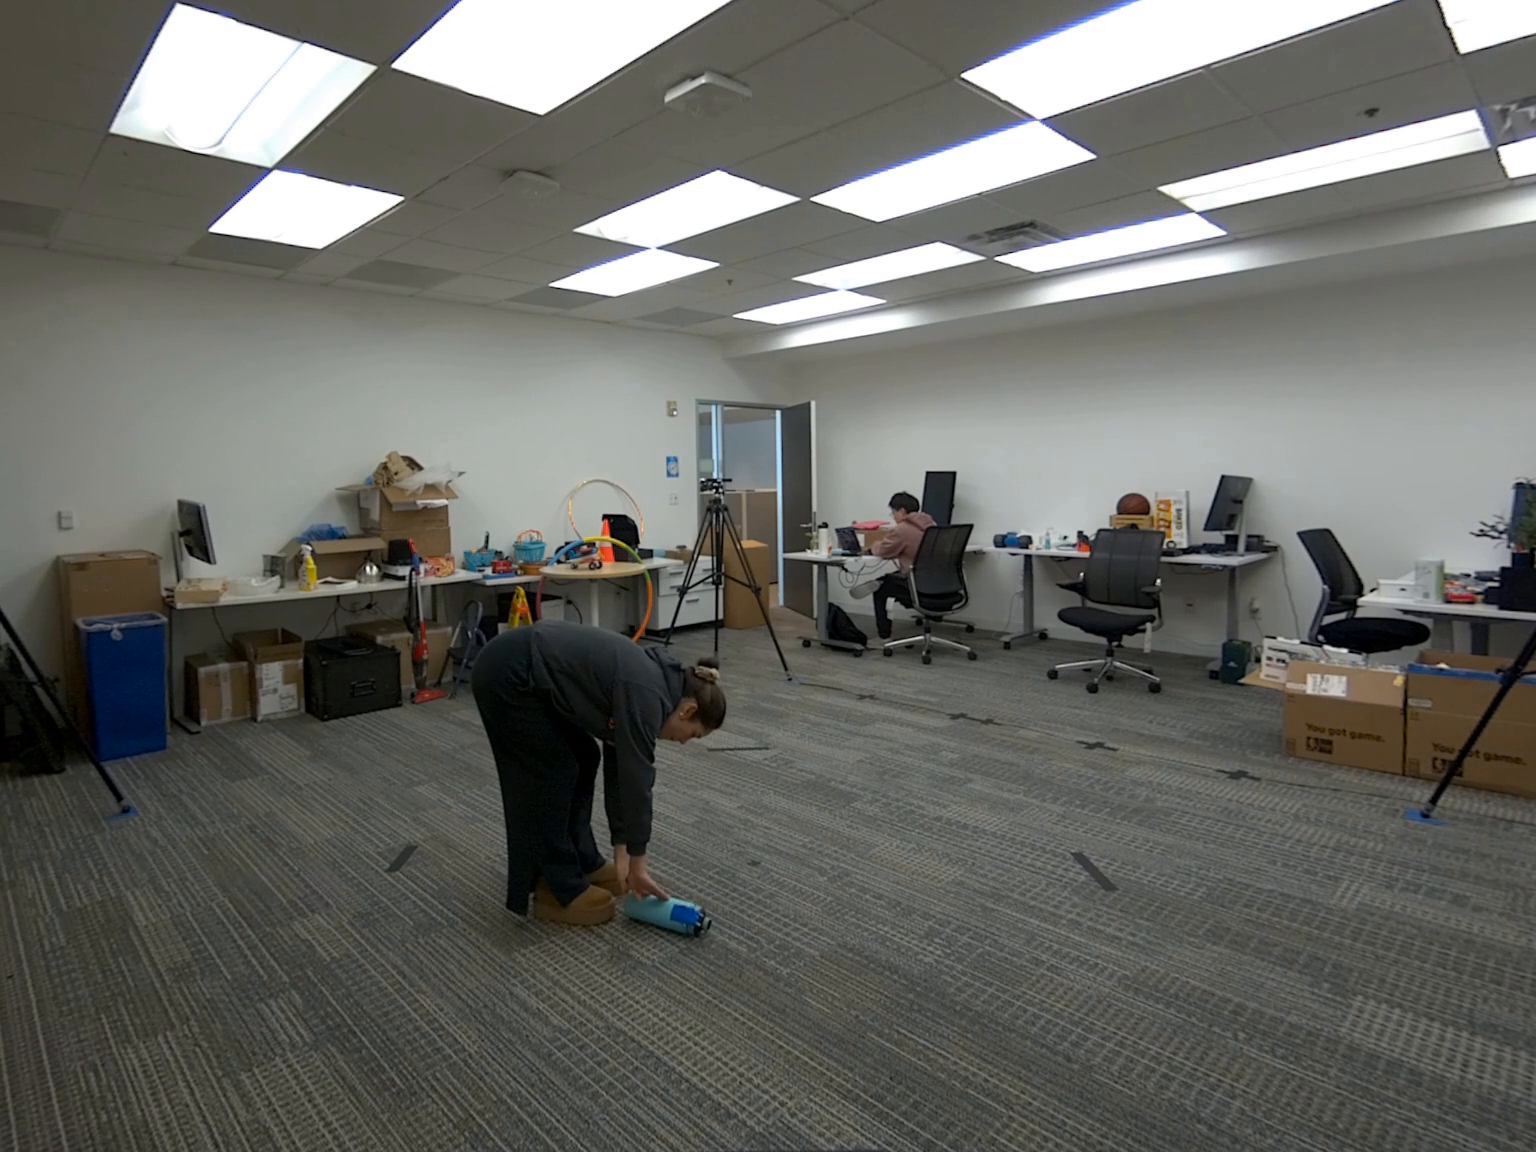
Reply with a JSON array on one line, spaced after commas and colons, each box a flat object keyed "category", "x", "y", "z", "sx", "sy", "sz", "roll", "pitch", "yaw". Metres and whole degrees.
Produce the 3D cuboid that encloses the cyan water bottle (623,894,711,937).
[{"category": "cyan water bottle", "x": -0.308, "y": 1.051, "z": 2.661, "sx": 0.291, "sy": 0.092, "sz": 0.090, "roll": 2, "pitch": 5, "yaw": 29}]
